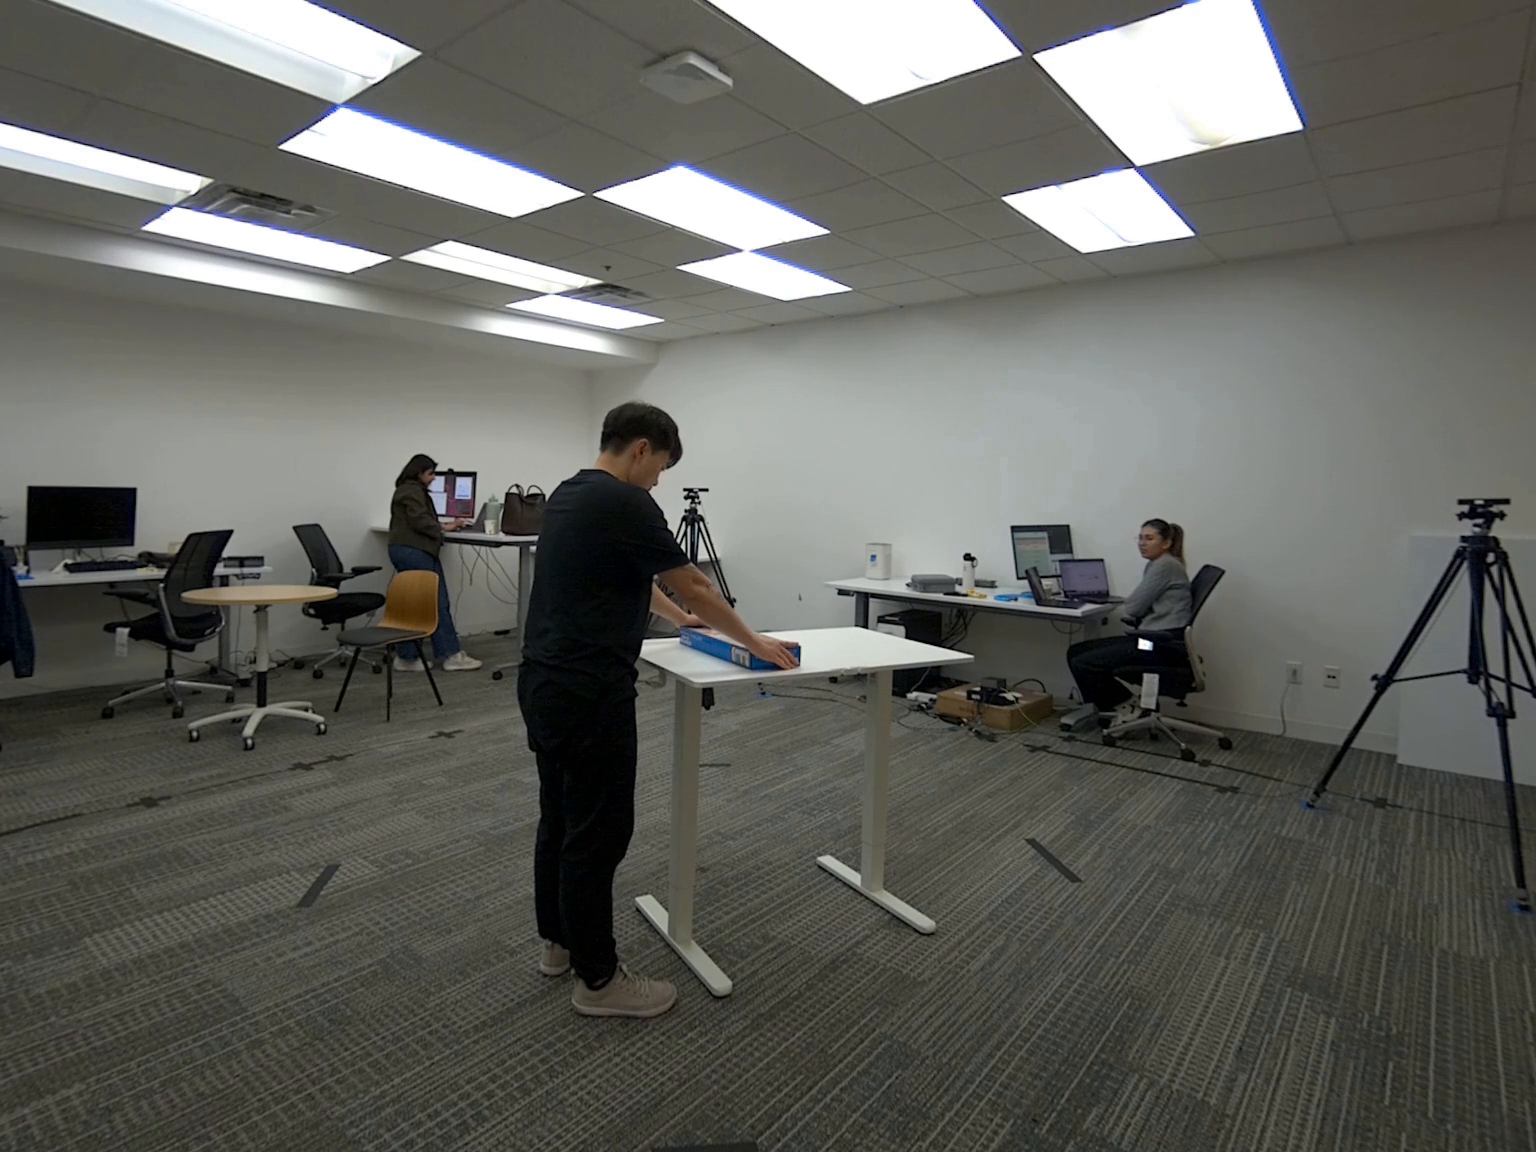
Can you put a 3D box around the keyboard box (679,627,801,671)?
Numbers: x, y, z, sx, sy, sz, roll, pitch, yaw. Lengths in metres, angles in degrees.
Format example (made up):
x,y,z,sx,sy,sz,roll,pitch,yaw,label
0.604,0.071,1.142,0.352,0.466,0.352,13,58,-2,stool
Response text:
x,y,z,sx,sy,sz,roll,pitch,yaw,label
-0.106,0.210,2.591,0.171,0.059,0.449,0,5,-28,keyboard box
